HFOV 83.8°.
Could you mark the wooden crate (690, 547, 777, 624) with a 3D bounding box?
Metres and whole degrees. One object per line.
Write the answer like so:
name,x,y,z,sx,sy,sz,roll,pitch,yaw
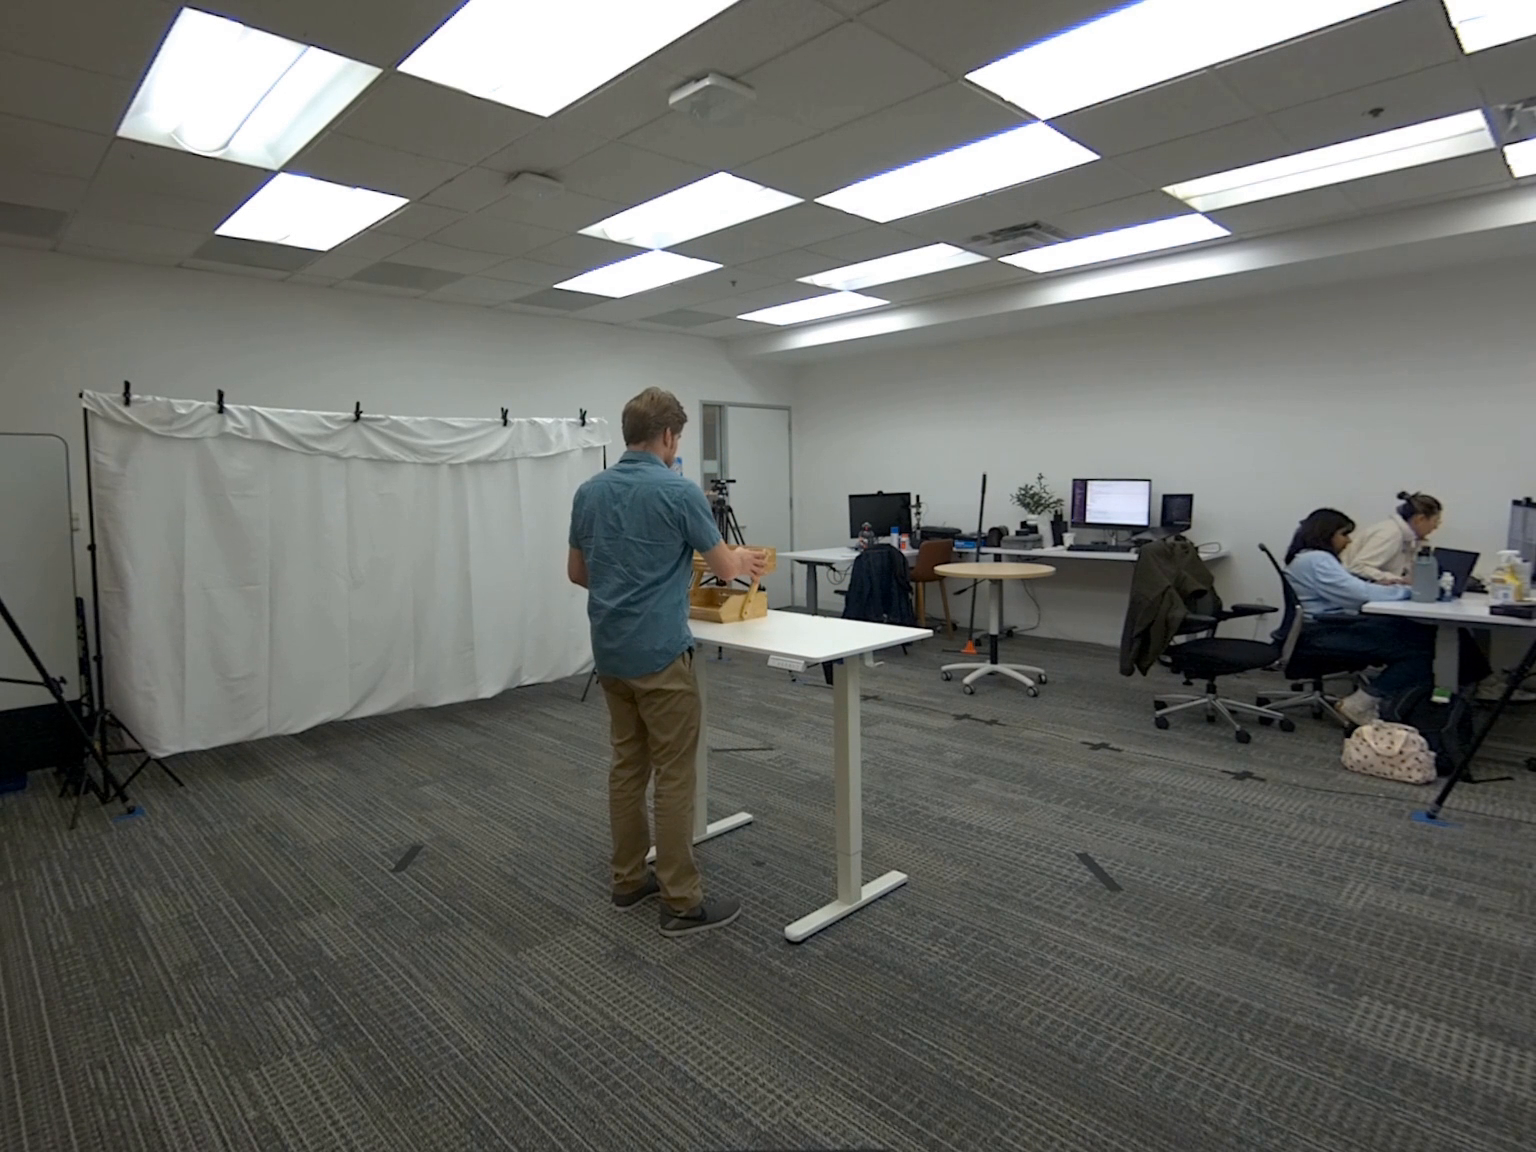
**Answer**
wooden crate,-0.183,0.019,3.256,0.334,0.272,0.294,4,6,44
